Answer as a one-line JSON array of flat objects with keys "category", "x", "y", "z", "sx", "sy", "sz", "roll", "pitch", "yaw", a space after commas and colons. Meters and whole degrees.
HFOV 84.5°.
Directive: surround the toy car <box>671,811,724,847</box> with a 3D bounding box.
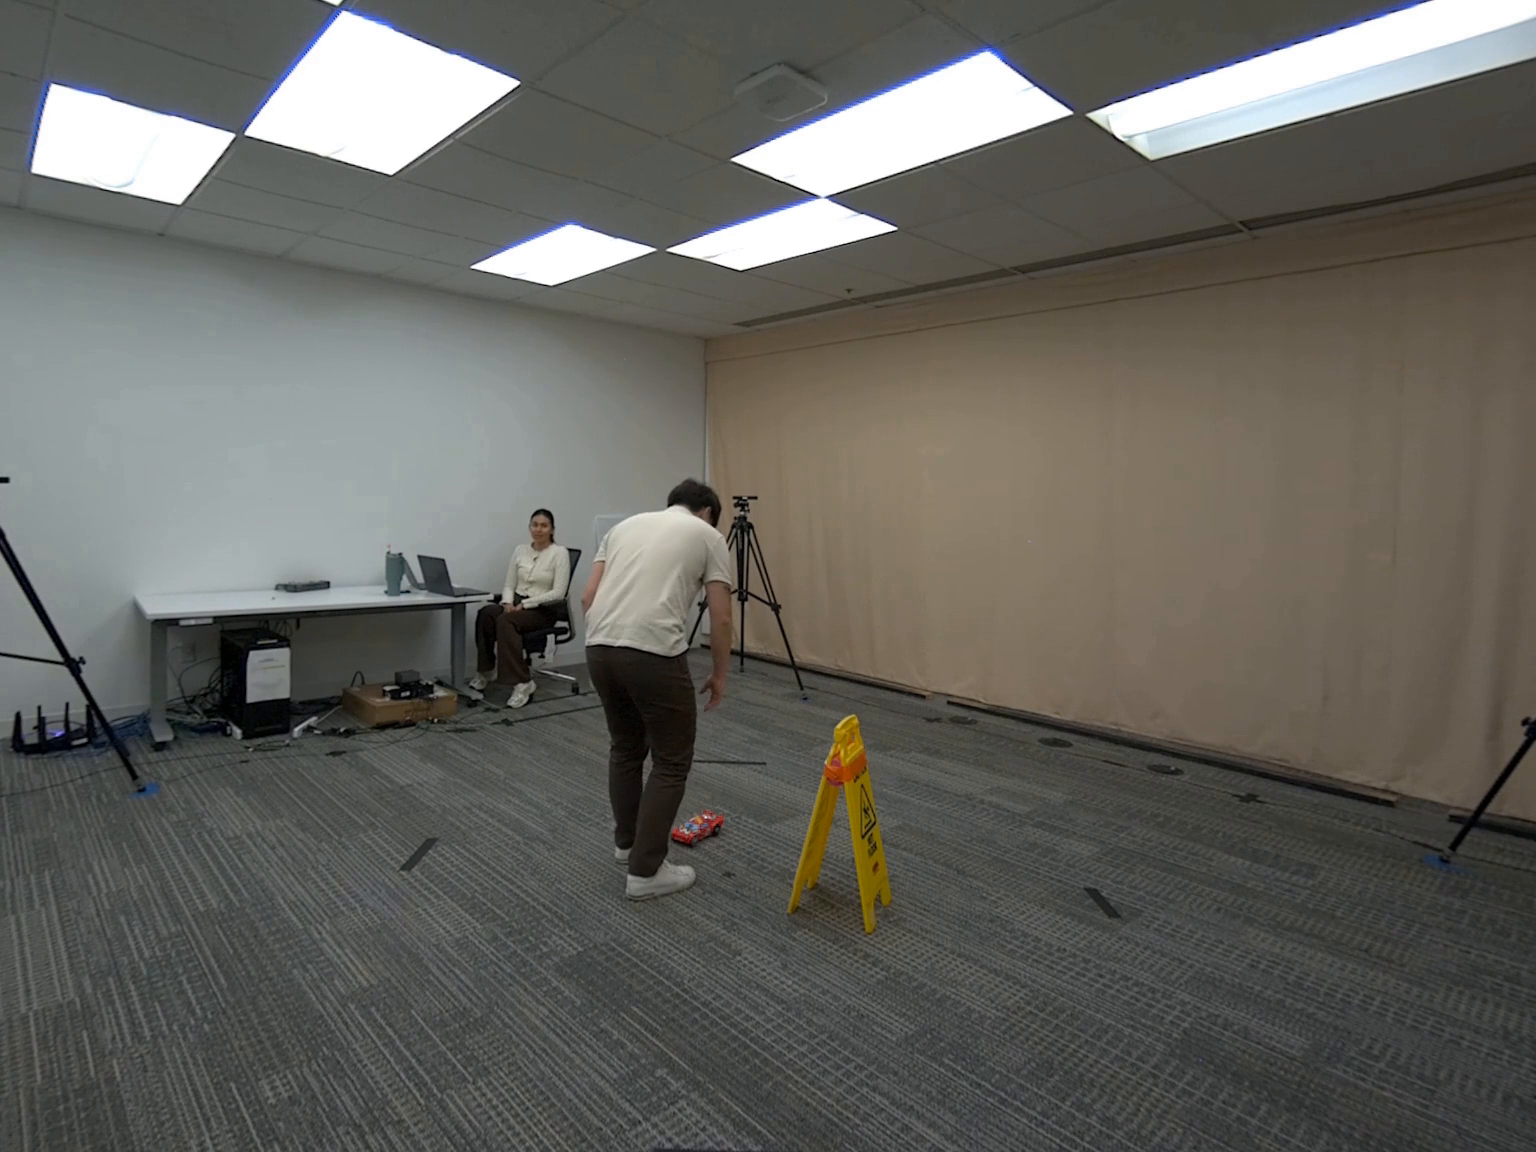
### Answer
[{"category": "toy car", "x": -0.288, "y": 1.039, "z": 3.453, "sx": 0.133, "sy": 0.082, "sz": 0.251, "roll": 3, "pitch": 16, "yaw": 36}]
